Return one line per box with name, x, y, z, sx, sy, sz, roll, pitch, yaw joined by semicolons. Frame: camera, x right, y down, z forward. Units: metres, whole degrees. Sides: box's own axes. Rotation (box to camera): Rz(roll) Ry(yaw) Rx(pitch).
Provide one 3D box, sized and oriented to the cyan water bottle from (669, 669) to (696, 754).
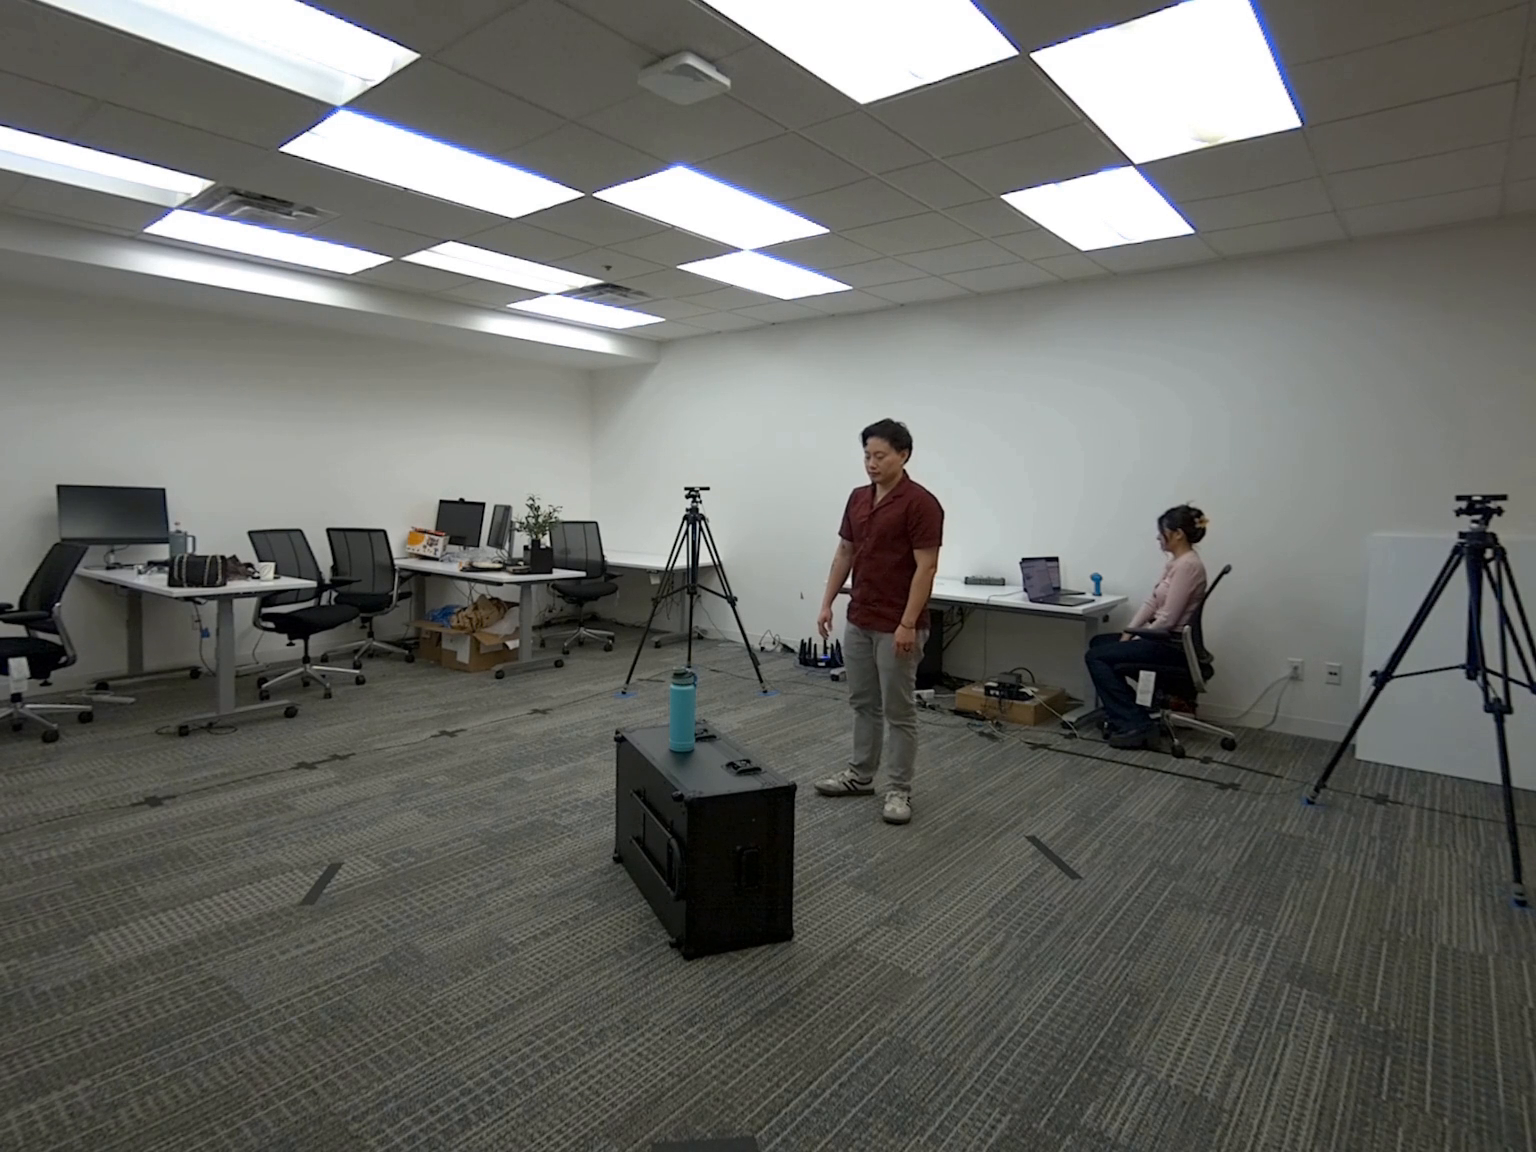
cyan water bottle;-0.308;0.454;2.955;0.092;0.283;0.092;2;2;-2
